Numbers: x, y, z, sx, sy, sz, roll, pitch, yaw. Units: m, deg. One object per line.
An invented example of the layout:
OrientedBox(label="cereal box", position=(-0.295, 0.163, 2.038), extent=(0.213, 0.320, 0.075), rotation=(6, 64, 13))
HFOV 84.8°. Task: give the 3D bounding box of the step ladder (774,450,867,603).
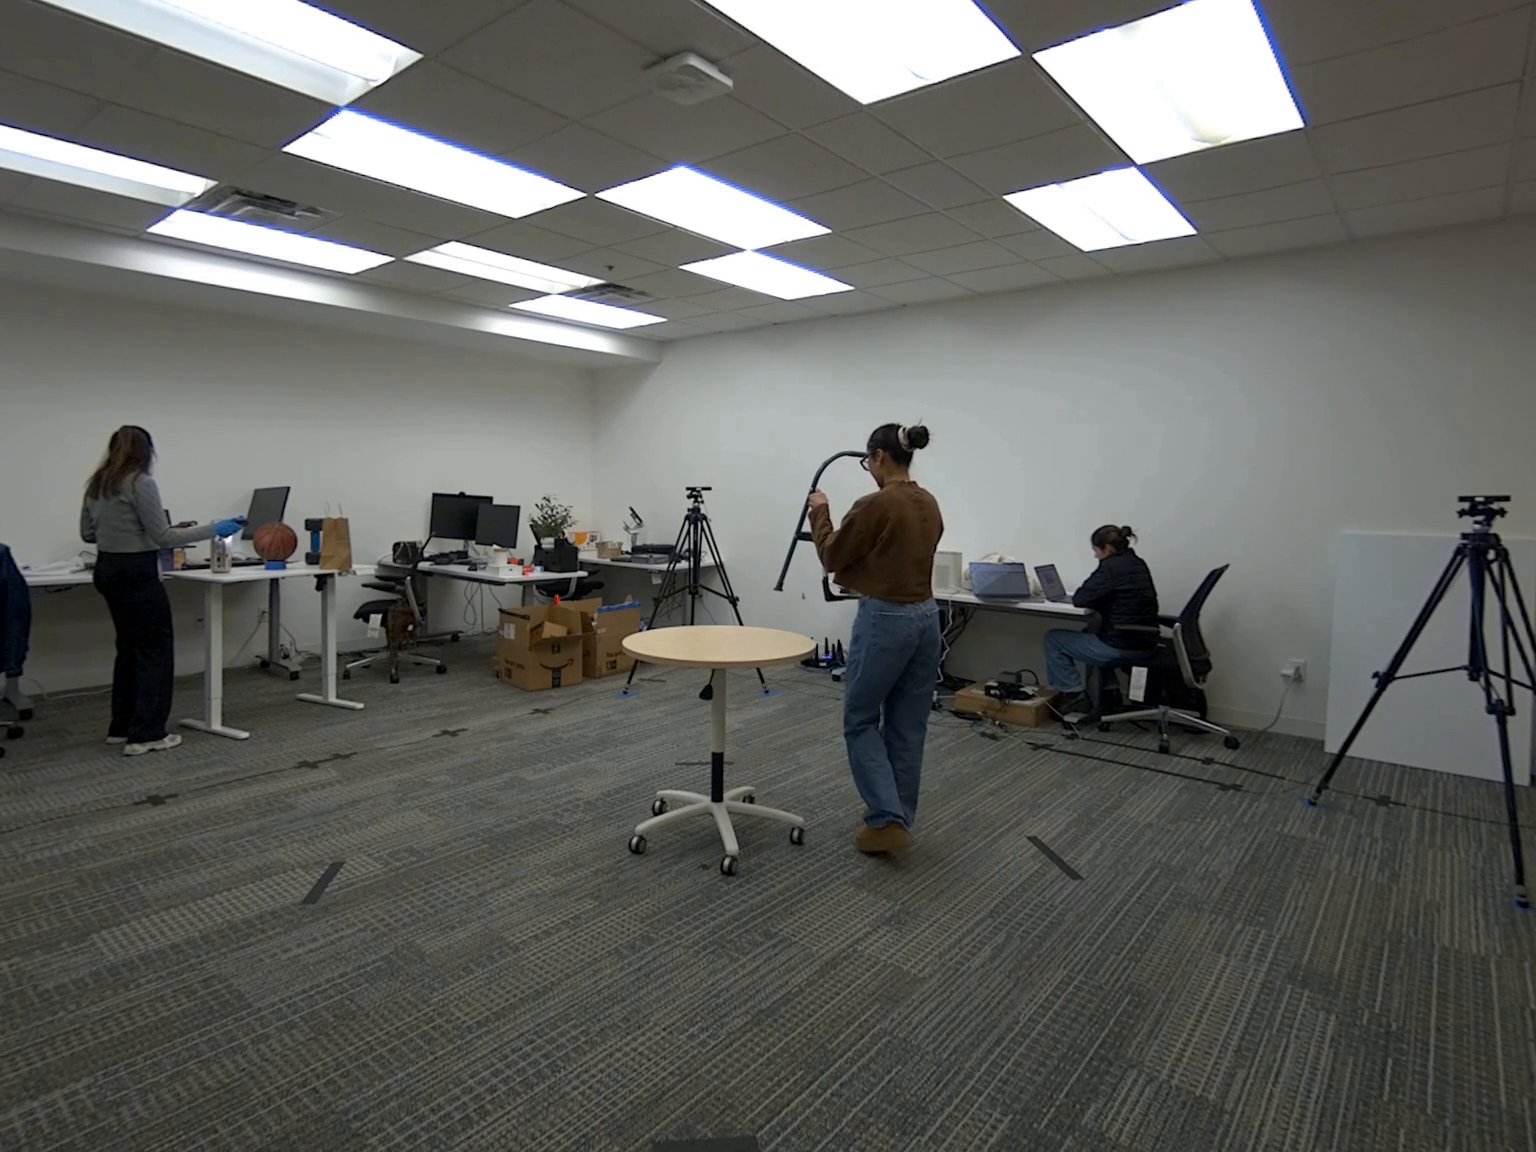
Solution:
OrientedBox(label="step ladder", position=(0.307, -0.219, 3.588), extent=(0.418, 0.604, 0.361), rotation=(0, 5, -37))
